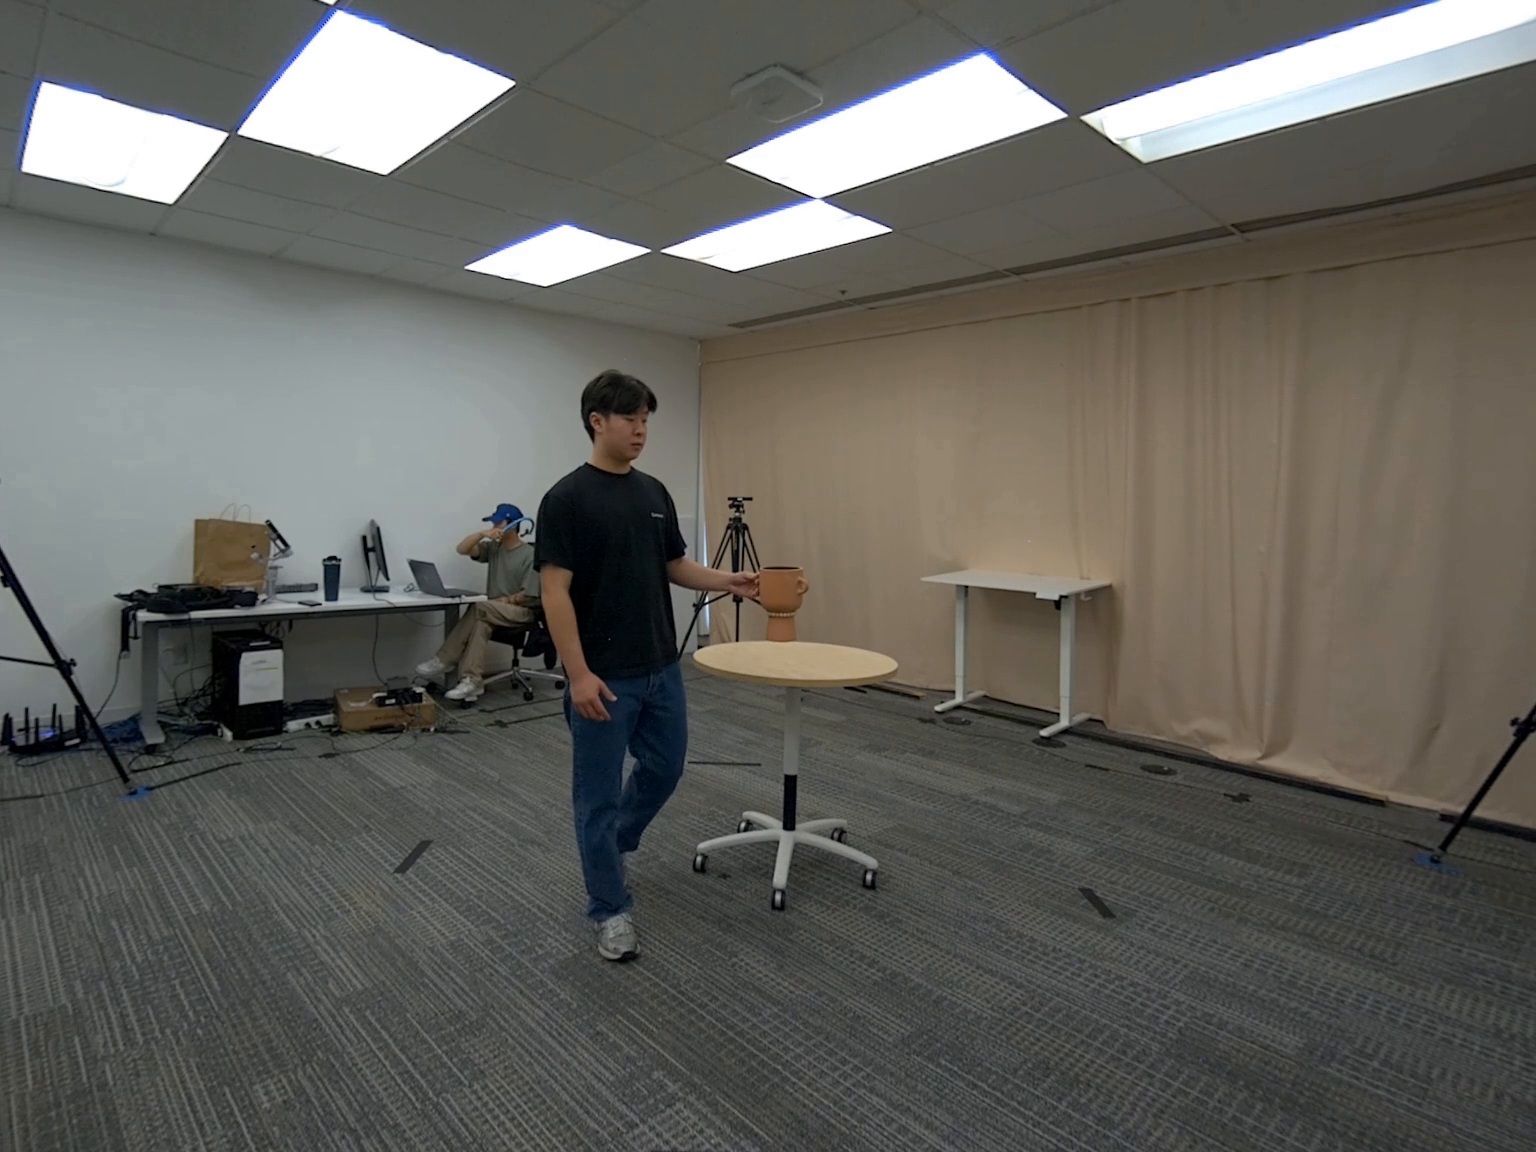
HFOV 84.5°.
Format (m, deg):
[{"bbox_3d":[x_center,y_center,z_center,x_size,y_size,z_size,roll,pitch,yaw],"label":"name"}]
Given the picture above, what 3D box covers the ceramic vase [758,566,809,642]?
[{"bbox_3d":[0.020,0.084,2.565,0.133,0.219,0.160,1,5,-10],"label":"ceramic vase"}]
